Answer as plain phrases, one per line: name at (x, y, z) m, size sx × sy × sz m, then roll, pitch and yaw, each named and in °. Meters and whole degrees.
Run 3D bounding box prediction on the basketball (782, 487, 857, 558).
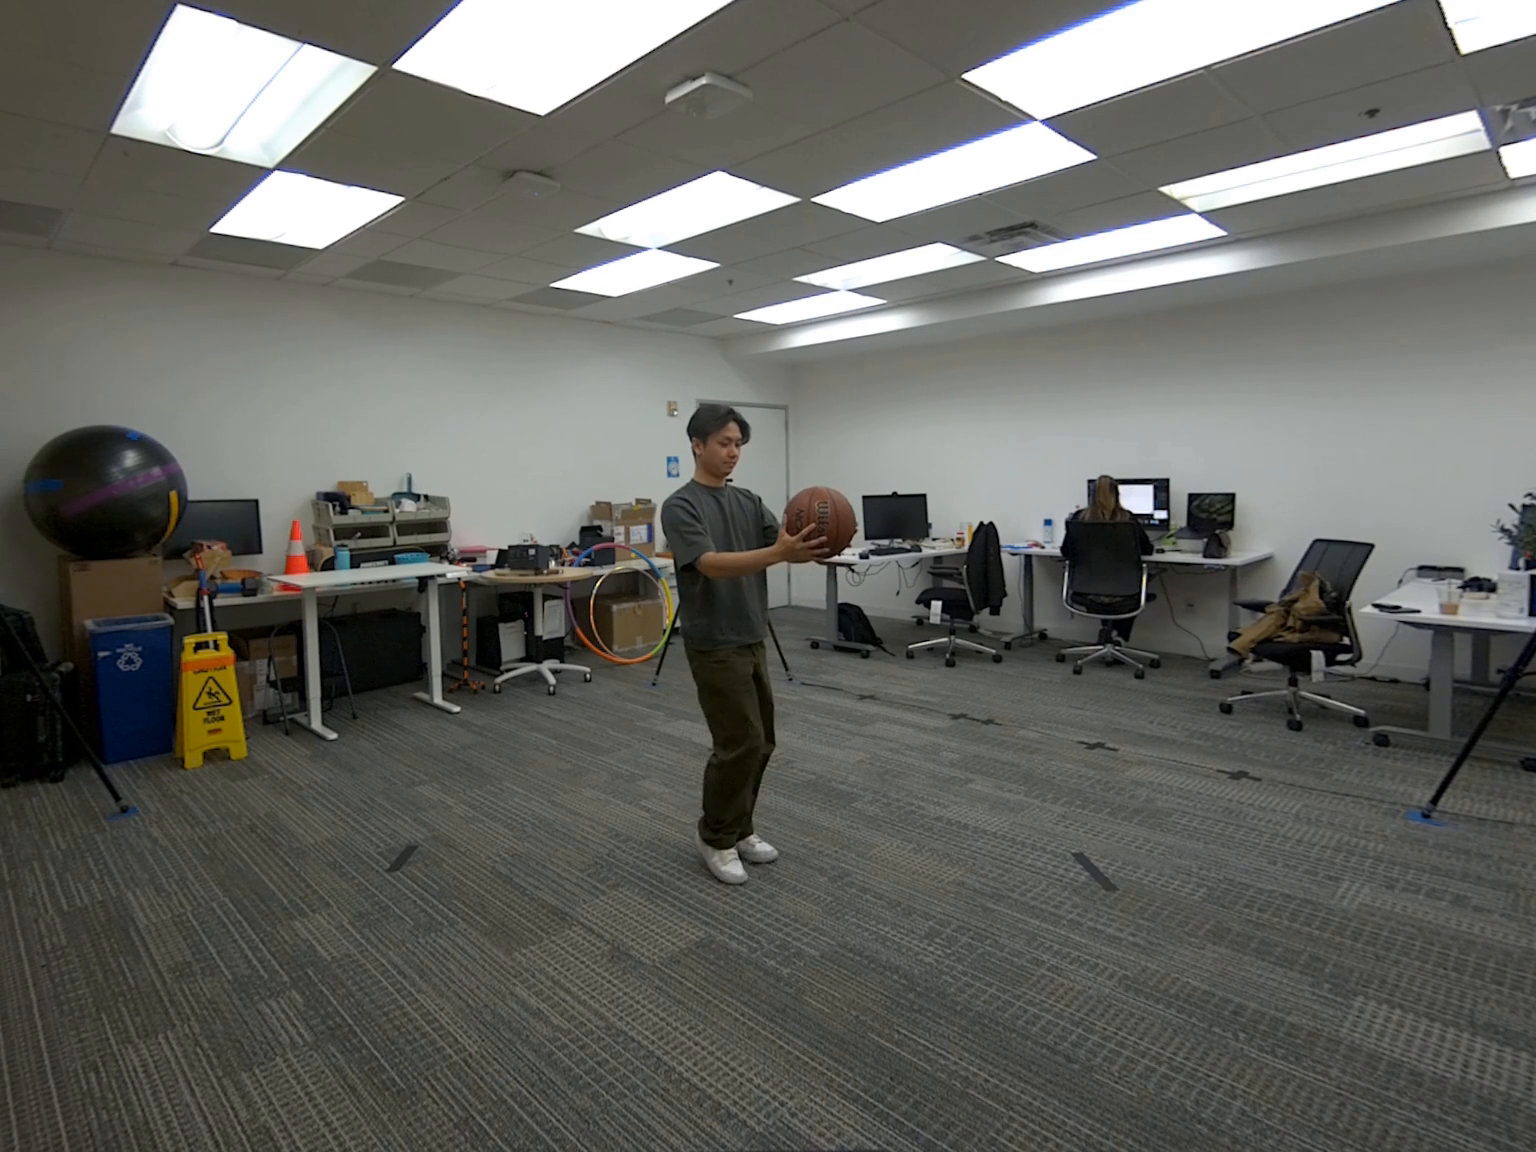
basketball at (0.164, -0.165, 2.775) m, size 0.236 × 0.235 × 0.237 m, roll -1°, pitch 5°, yaw -2°
